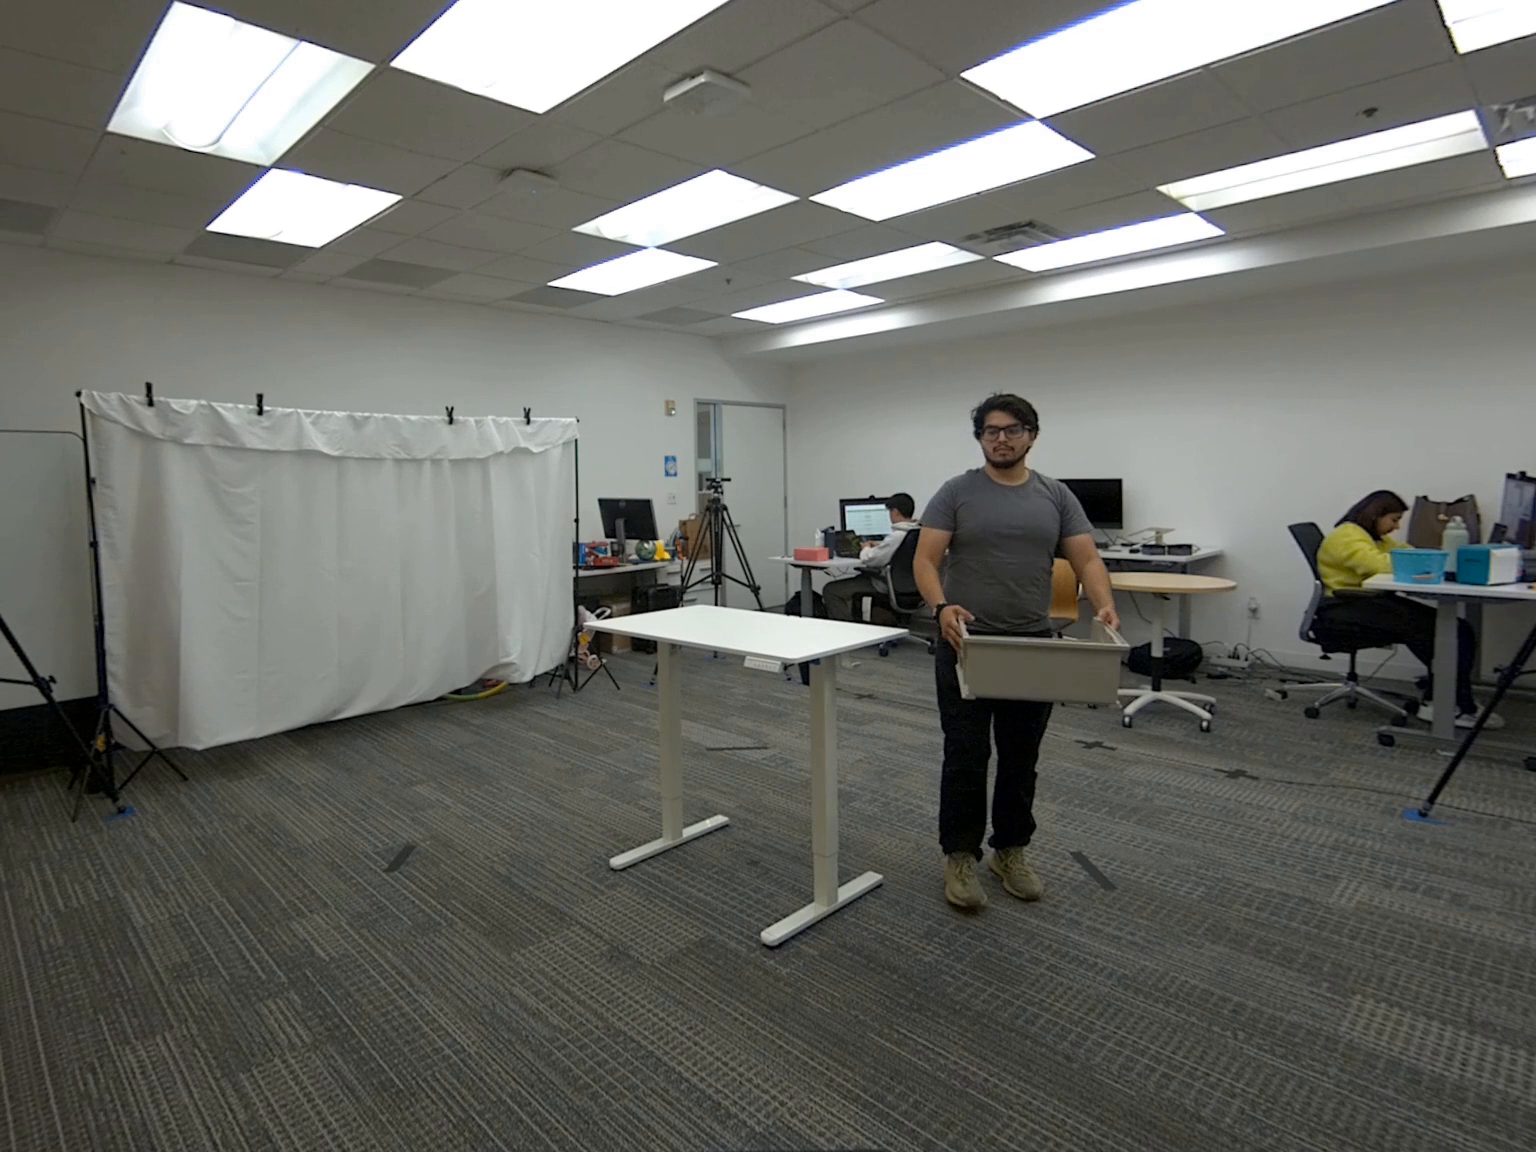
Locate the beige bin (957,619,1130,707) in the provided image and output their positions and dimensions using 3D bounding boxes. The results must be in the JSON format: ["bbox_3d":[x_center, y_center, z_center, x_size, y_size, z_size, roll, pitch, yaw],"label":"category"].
[{"bbox_3d":[0.760,0.229,2.489,0.427,0.187,0.377,2,13,10],"label":"beige bin"}]
